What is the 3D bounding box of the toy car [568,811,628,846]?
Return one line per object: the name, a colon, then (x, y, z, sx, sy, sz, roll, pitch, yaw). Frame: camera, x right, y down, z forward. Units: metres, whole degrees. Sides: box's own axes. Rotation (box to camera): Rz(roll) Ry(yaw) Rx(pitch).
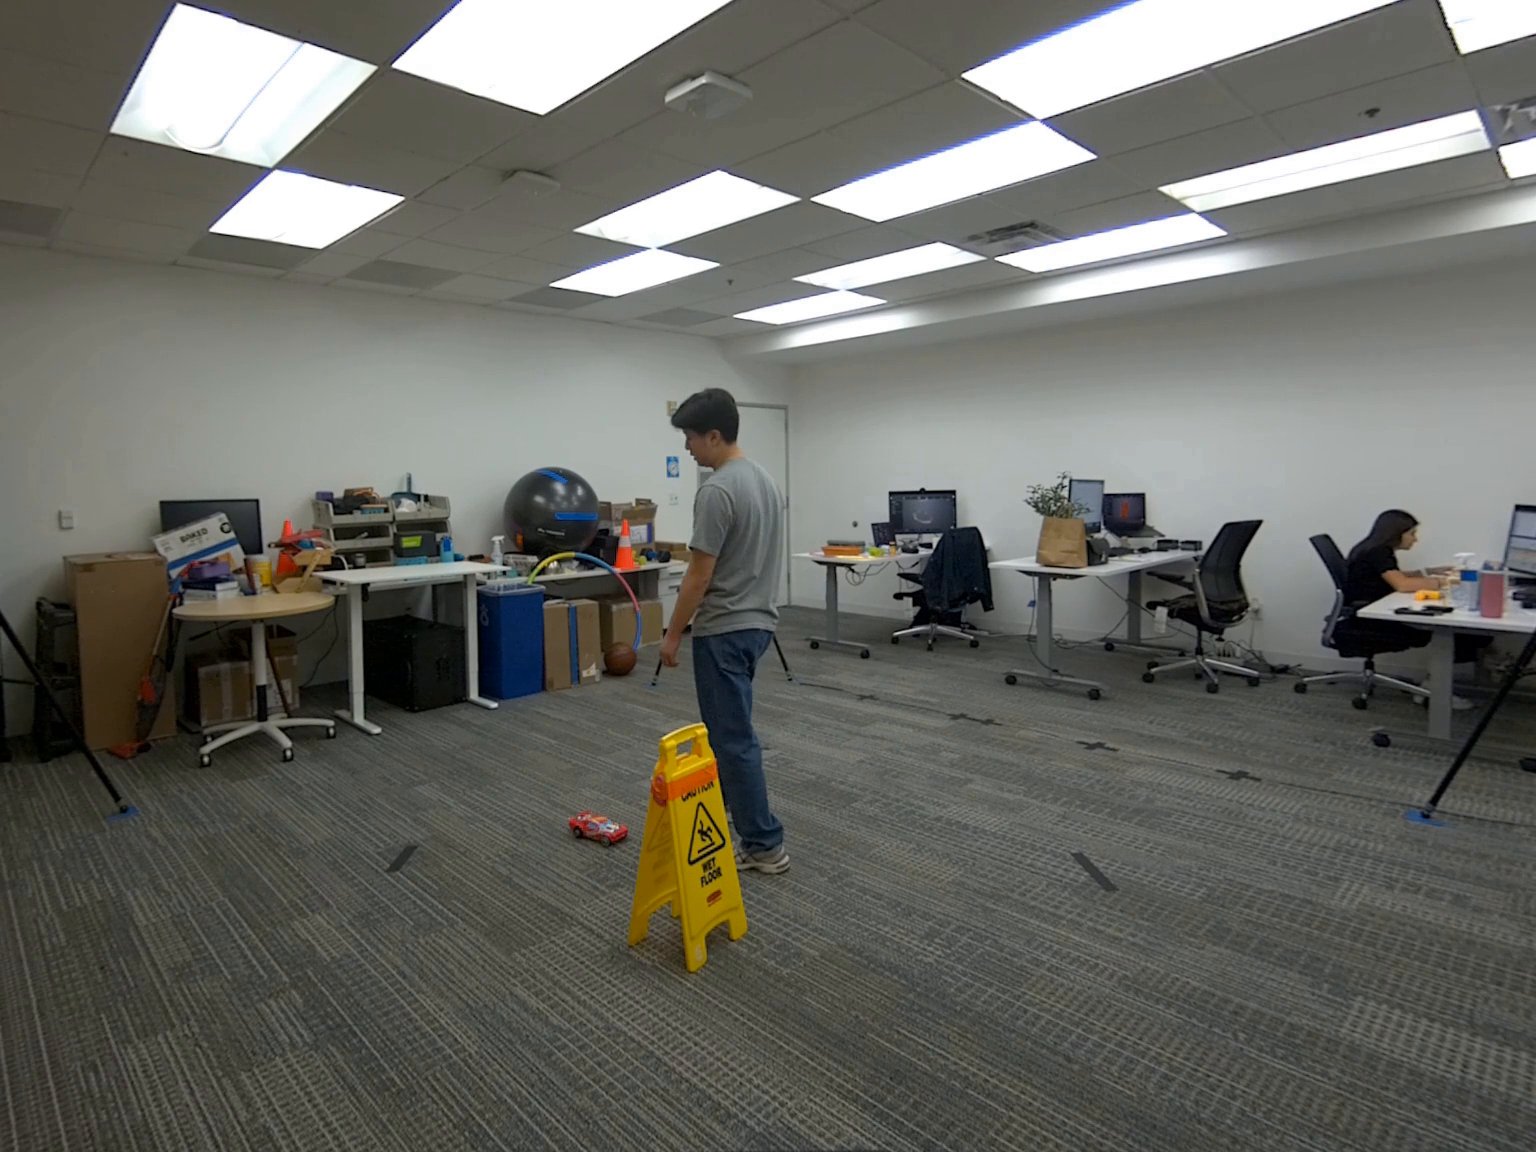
toy car: (-0.675, 0.996, 3.367, 0.262, 0.082, 0.127, 14, 13, 31)
